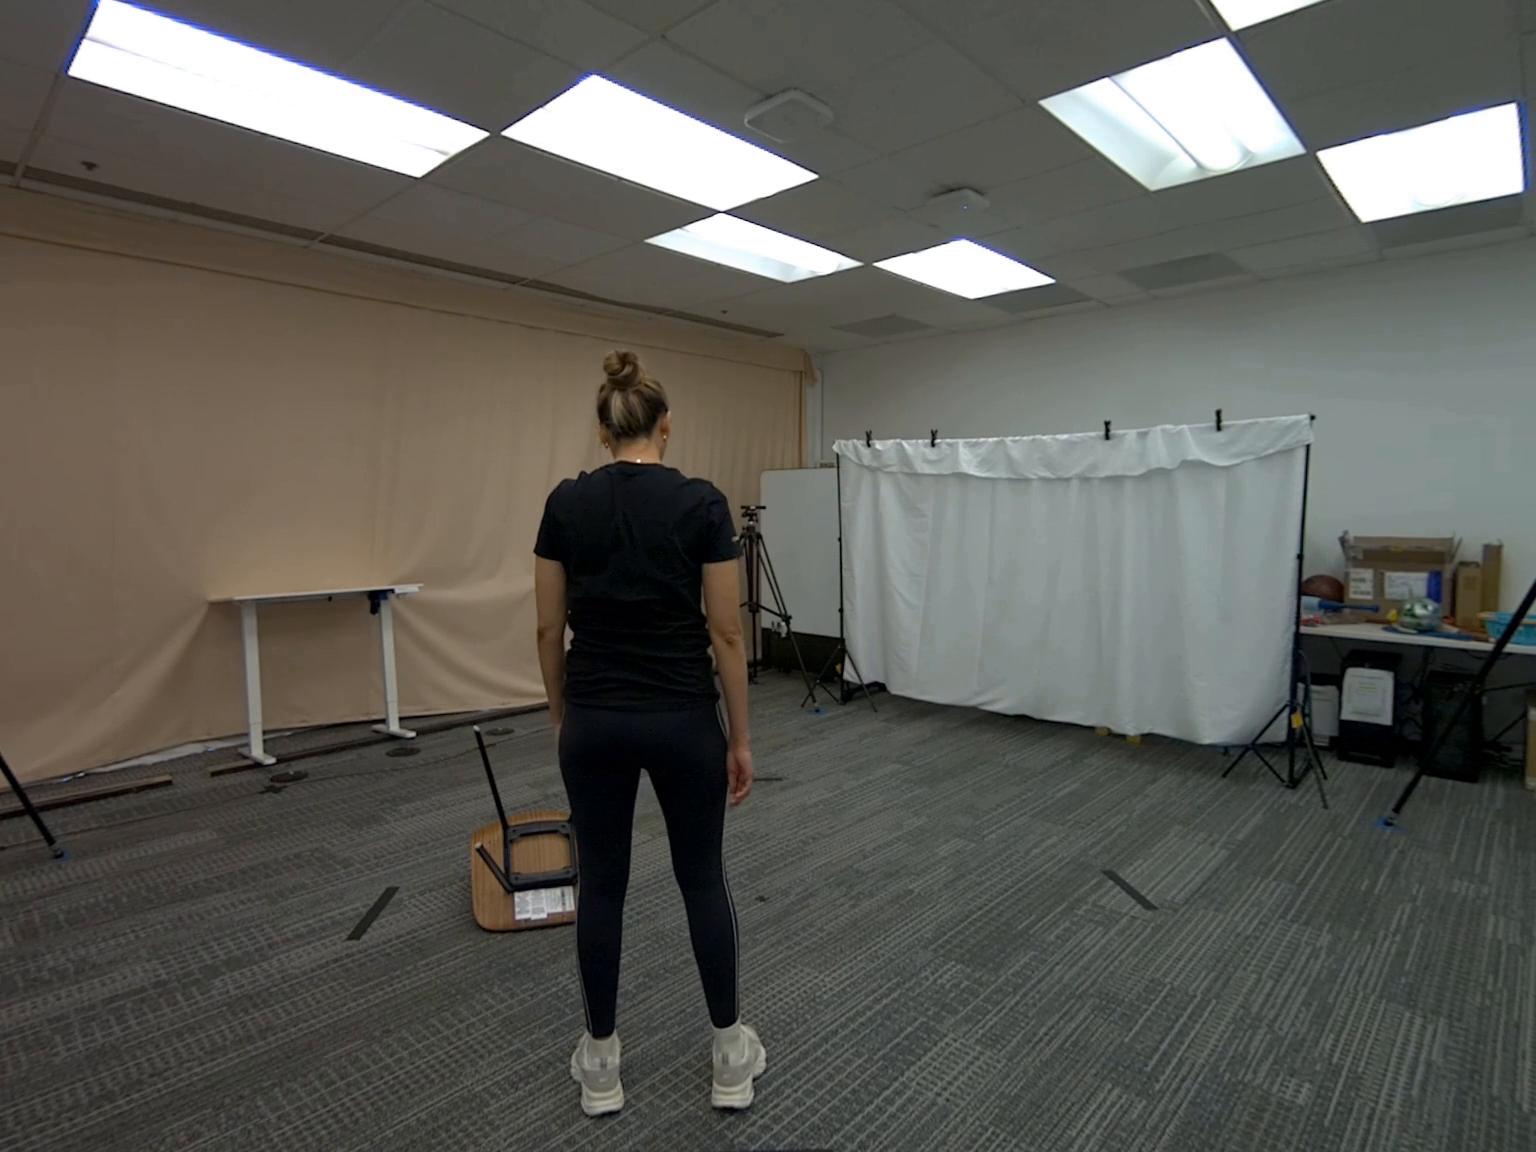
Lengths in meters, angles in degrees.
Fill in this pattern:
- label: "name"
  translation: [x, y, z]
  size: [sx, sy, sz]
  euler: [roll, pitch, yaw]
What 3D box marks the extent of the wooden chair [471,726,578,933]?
- label: "wooden chair"
  translation: [-0.801, 0.981, 2.960]
  size: [0.469, 0.869, 0.538]
  euler: [-1, 44, -19]
